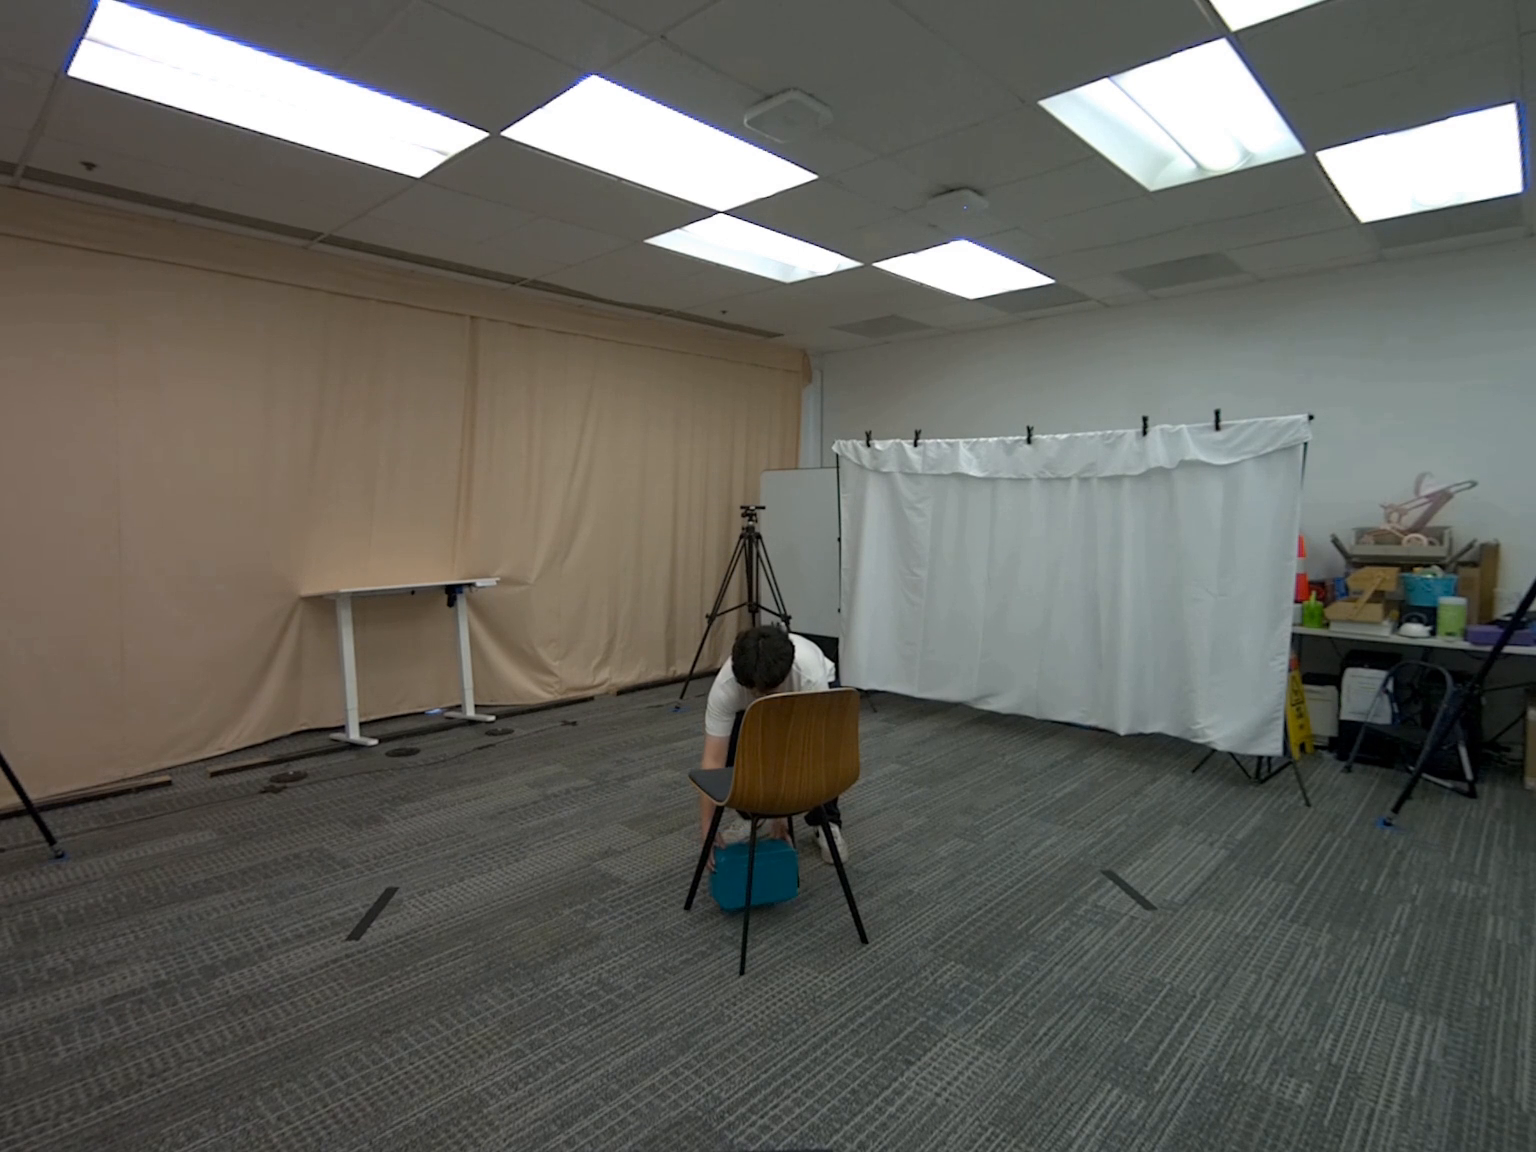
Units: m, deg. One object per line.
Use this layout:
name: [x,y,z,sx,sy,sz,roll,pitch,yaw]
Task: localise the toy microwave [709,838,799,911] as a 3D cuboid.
toy microwave: [-0.050,1.022,2.910,0.280,0.184,0.155,-2,2,-20]
